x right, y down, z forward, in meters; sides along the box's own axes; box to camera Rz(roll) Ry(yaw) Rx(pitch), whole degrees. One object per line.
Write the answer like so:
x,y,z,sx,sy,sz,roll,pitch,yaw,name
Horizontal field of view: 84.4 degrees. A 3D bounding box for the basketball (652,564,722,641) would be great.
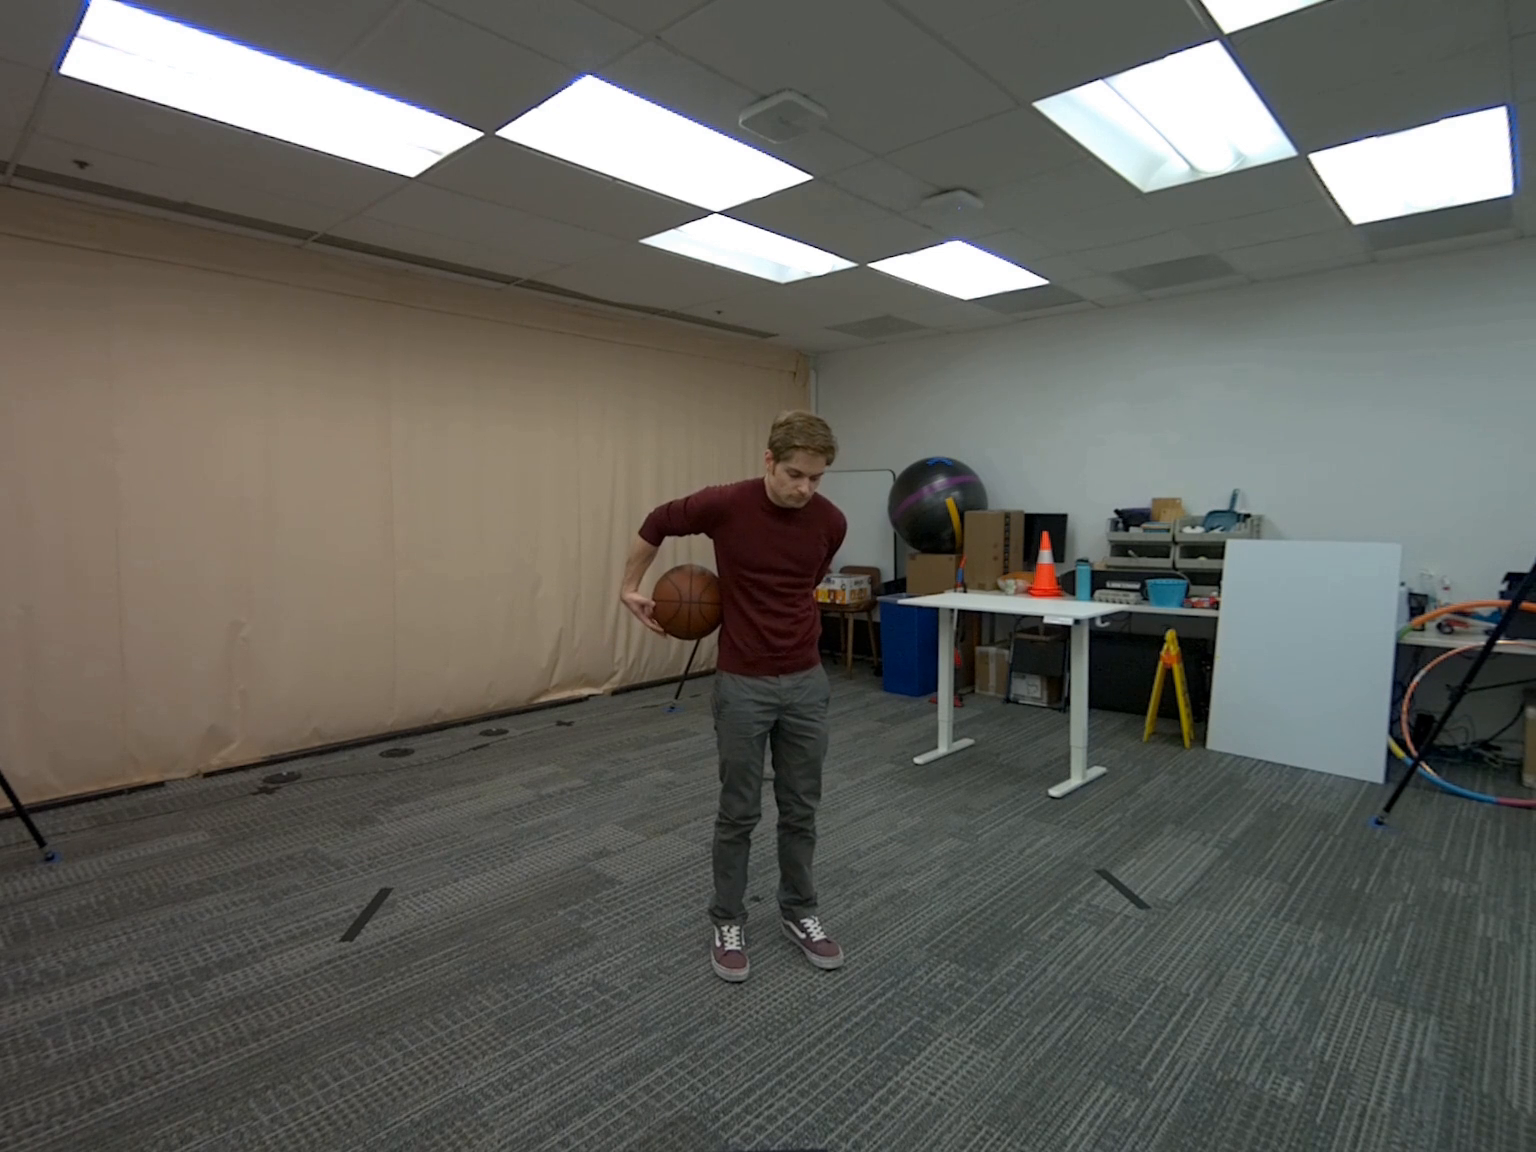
-0.238,0.086,2.642,0.236,0.235,0.237,0,4,-2,basketball
